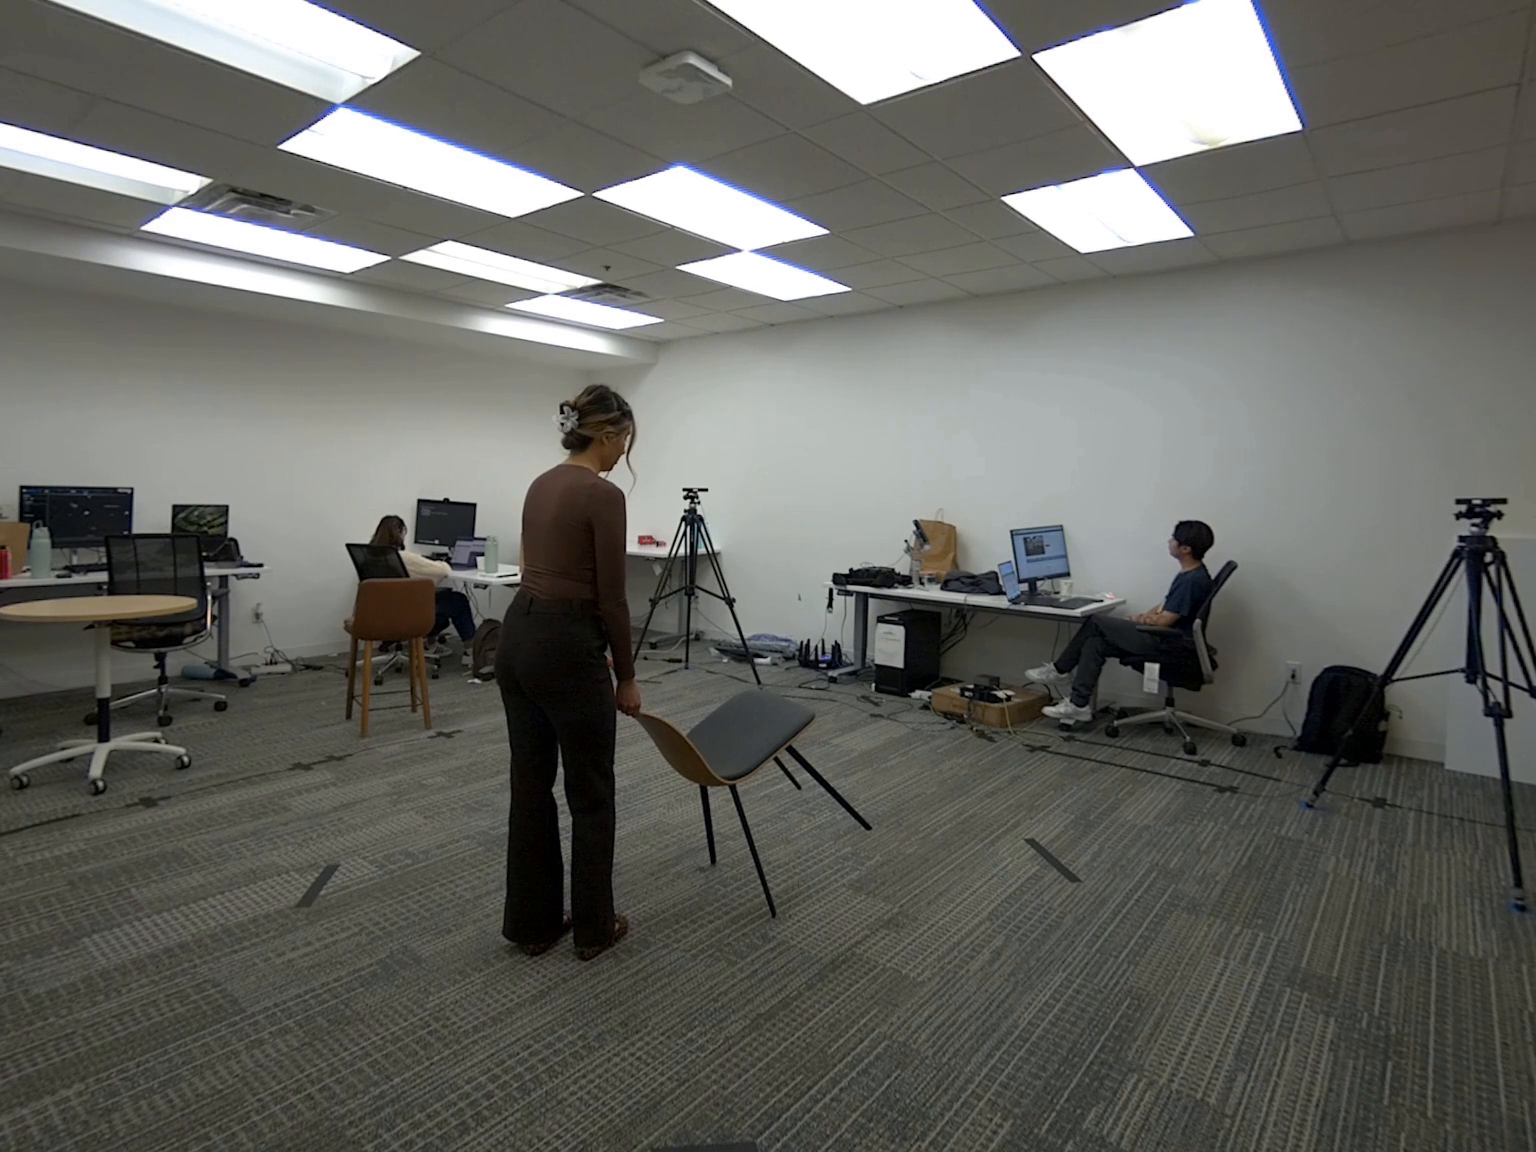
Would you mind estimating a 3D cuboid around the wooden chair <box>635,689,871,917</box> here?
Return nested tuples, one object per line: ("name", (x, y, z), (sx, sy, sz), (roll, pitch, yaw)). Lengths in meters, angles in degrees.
("wooden chair", (-0.110, 0.601, 2.924), (0.520, 0.857, 0.492), (-38, 20, -21))
